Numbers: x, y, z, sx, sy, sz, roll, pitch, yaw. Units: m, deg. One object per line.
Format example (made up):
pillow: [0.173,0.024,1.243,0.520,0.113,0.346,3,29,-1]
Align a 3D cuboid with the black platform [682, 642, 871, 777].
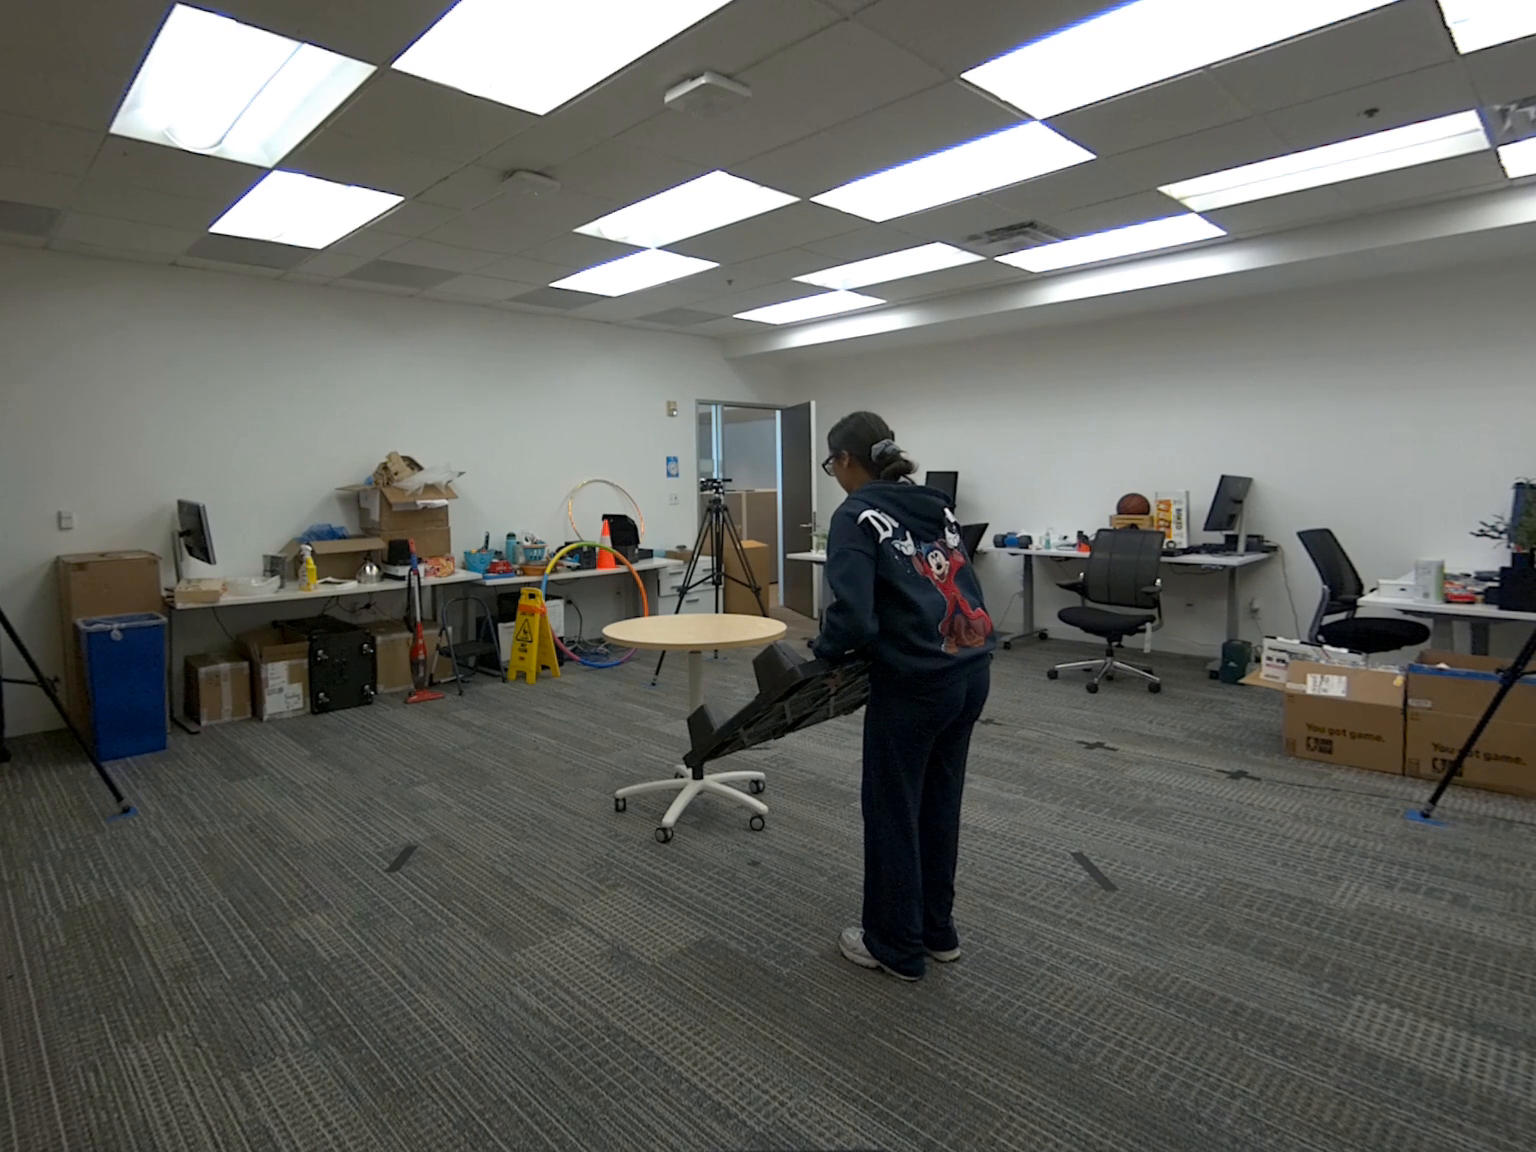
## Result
black platform: [0.173,0.319,2.623,0.785,0.147,0.605,-8,-28,-43]
